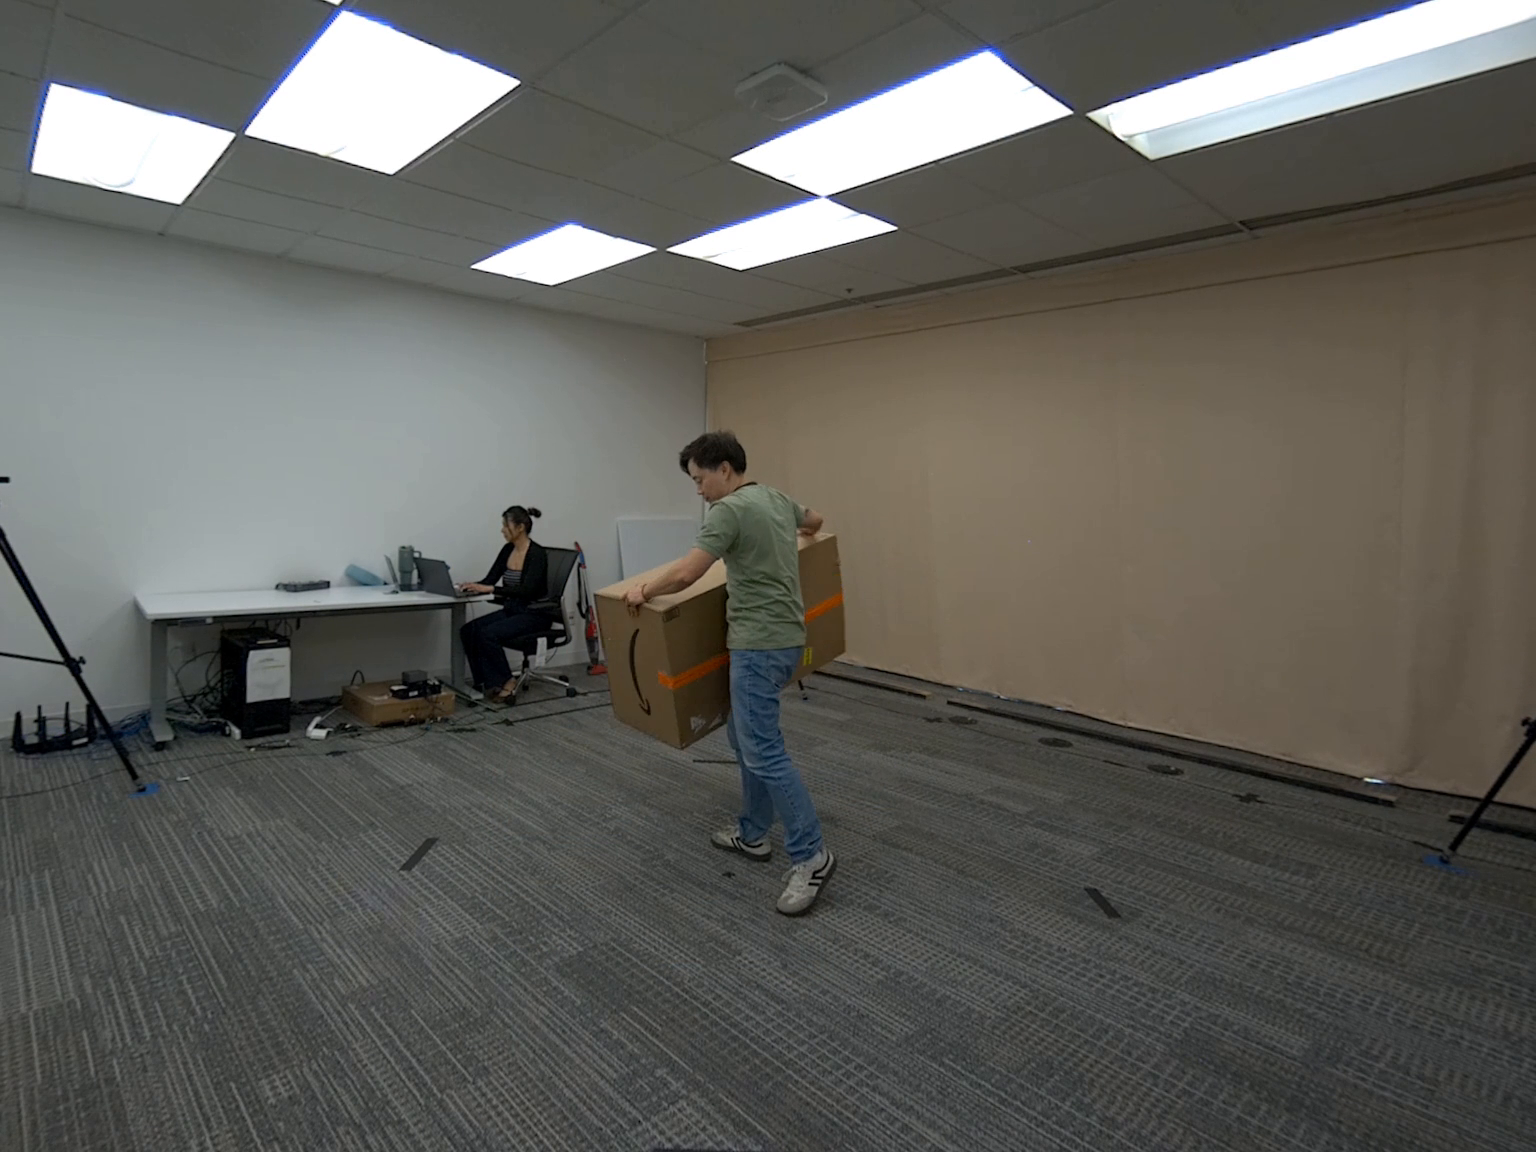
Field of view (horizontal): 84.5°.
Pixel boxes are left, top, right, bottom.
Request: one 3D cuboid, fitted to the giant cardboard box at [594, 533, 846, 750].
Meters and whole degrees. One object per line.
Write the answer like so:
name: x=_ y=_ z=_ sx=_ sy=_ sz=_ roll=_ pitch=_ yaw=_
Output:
giant cardboard box: x=-0.173 y=0.204 z=3.592 sx=0.438 sy=0.569 sz=1.012 roll=12 pitch=27 yaw=43
